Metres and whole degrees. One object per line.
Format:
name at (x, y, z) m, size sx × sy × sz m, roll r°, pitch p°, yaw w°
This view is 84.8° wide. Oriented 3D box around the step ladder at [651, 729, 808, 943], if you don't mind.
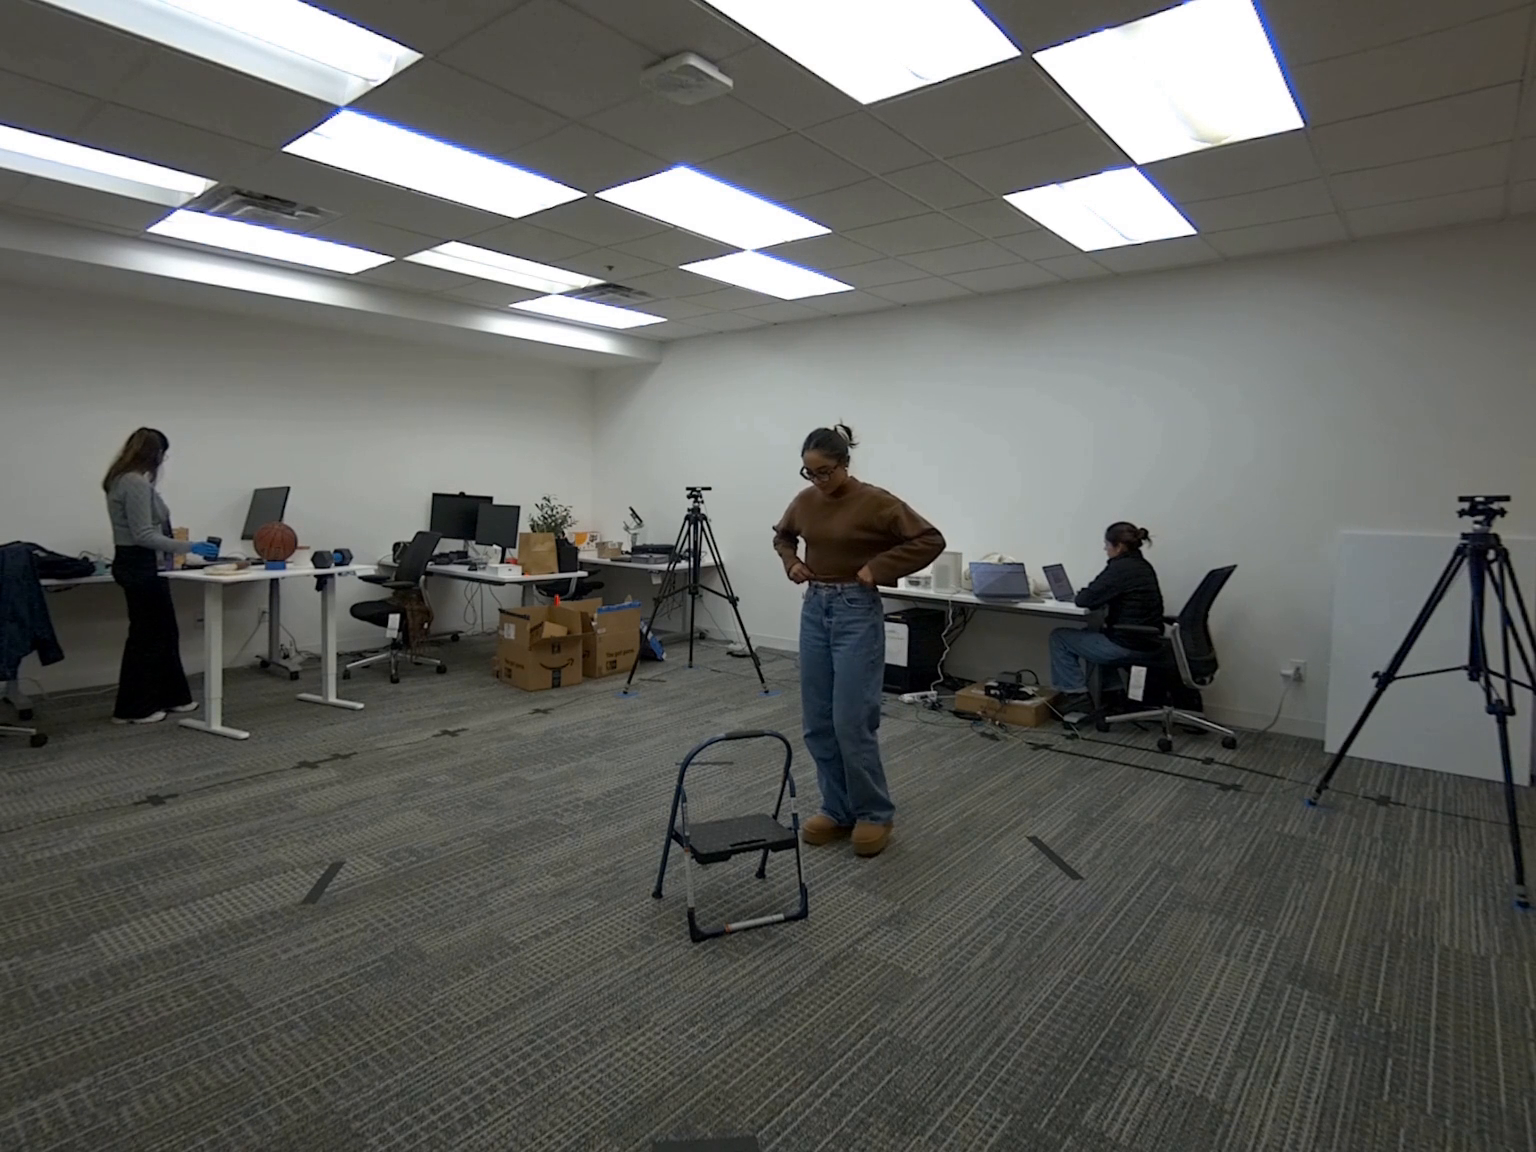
step ladder at (-0.134, 0.794, 2.815) m, size 0.420 × 0.604 × 0.359 m, roll -1°, pitch 3°, yaw -27°
